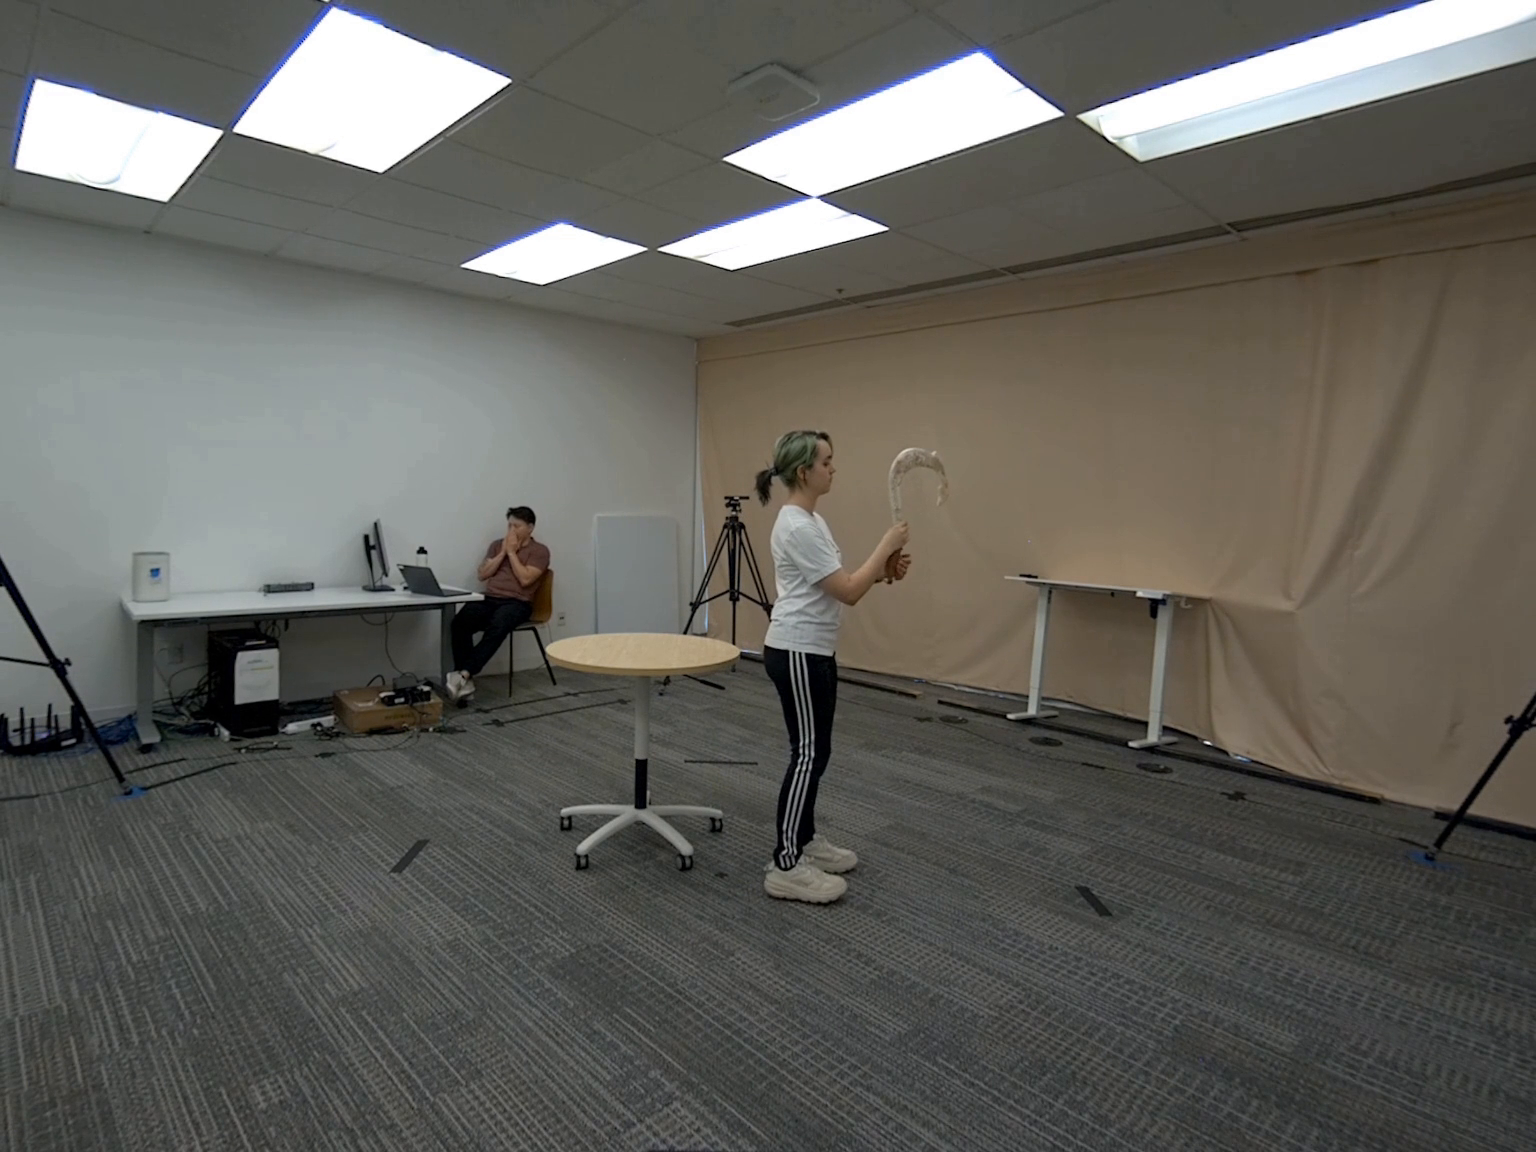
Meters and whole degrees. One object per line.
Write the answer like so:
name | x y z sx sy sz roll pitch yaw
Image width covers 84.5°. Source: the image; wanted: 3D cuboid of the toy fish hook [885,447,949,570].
toy fish hook | 0.522 -0.213 3.059 0.224 0.506 0.048 10 1 -1
